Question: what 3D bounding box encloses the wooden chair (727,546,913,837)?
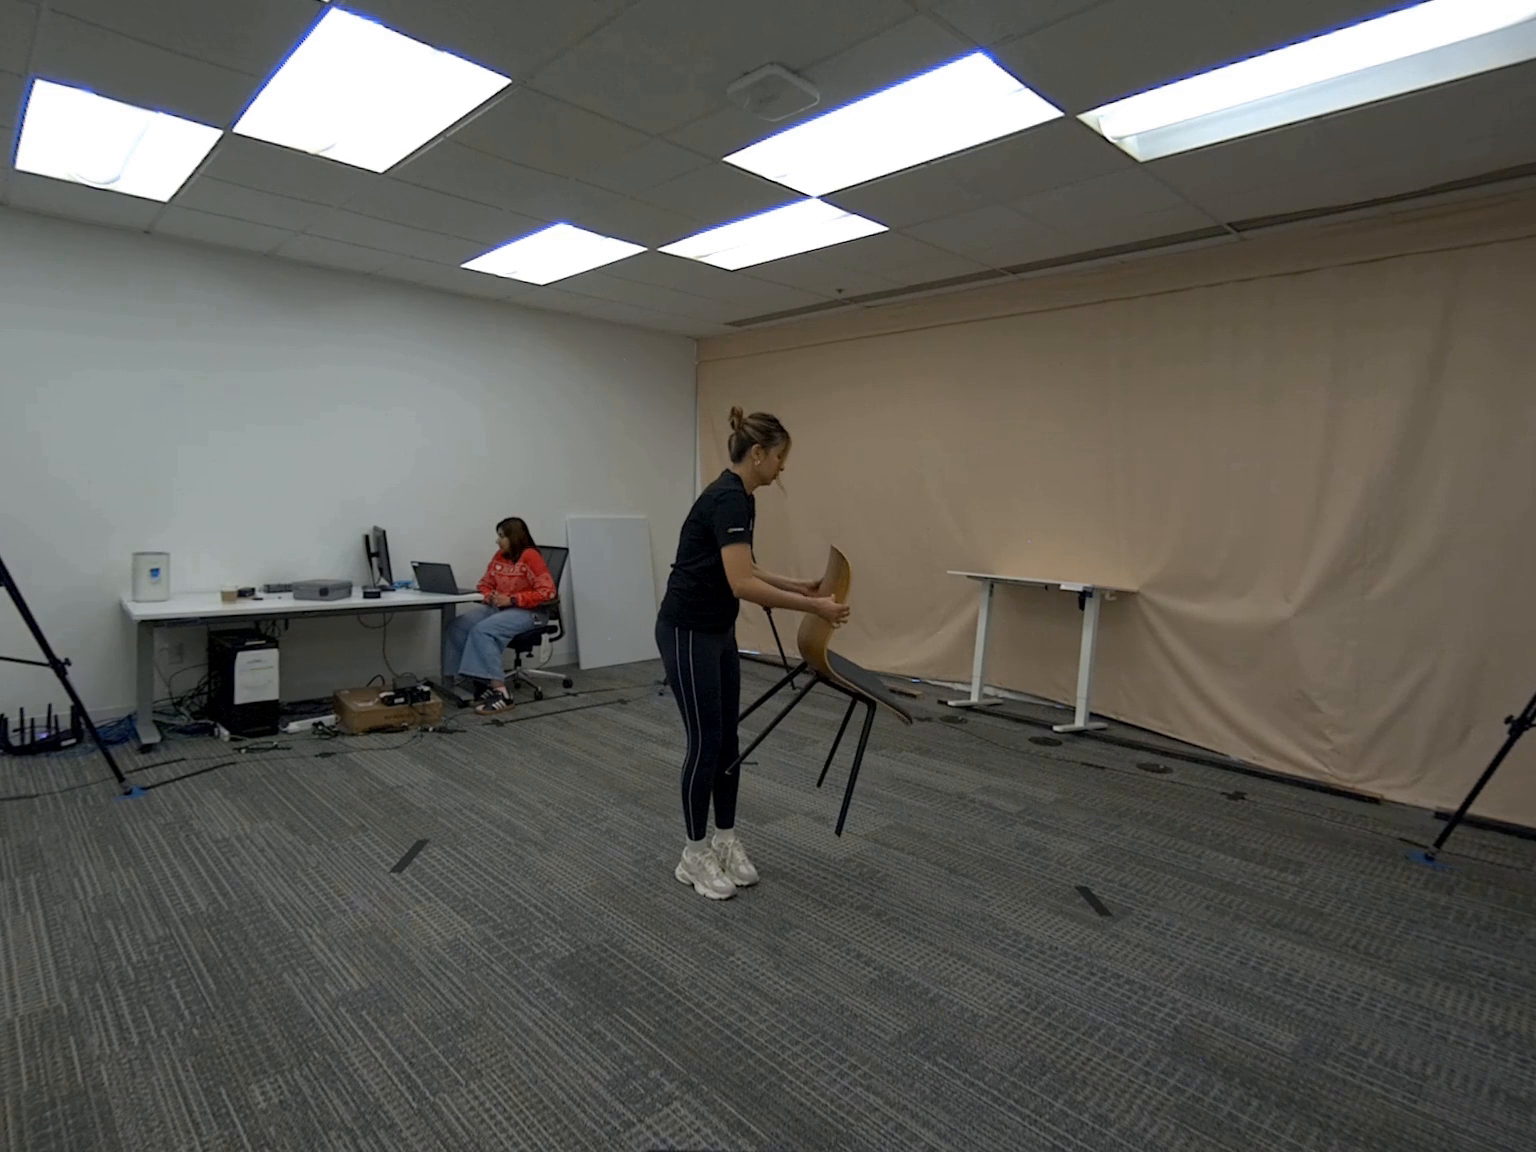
[{"bbox_3d":[0.256,0.393,3.051,0.520,0.876,0.481,27,4,-5],"label":"wooden chair"}]
